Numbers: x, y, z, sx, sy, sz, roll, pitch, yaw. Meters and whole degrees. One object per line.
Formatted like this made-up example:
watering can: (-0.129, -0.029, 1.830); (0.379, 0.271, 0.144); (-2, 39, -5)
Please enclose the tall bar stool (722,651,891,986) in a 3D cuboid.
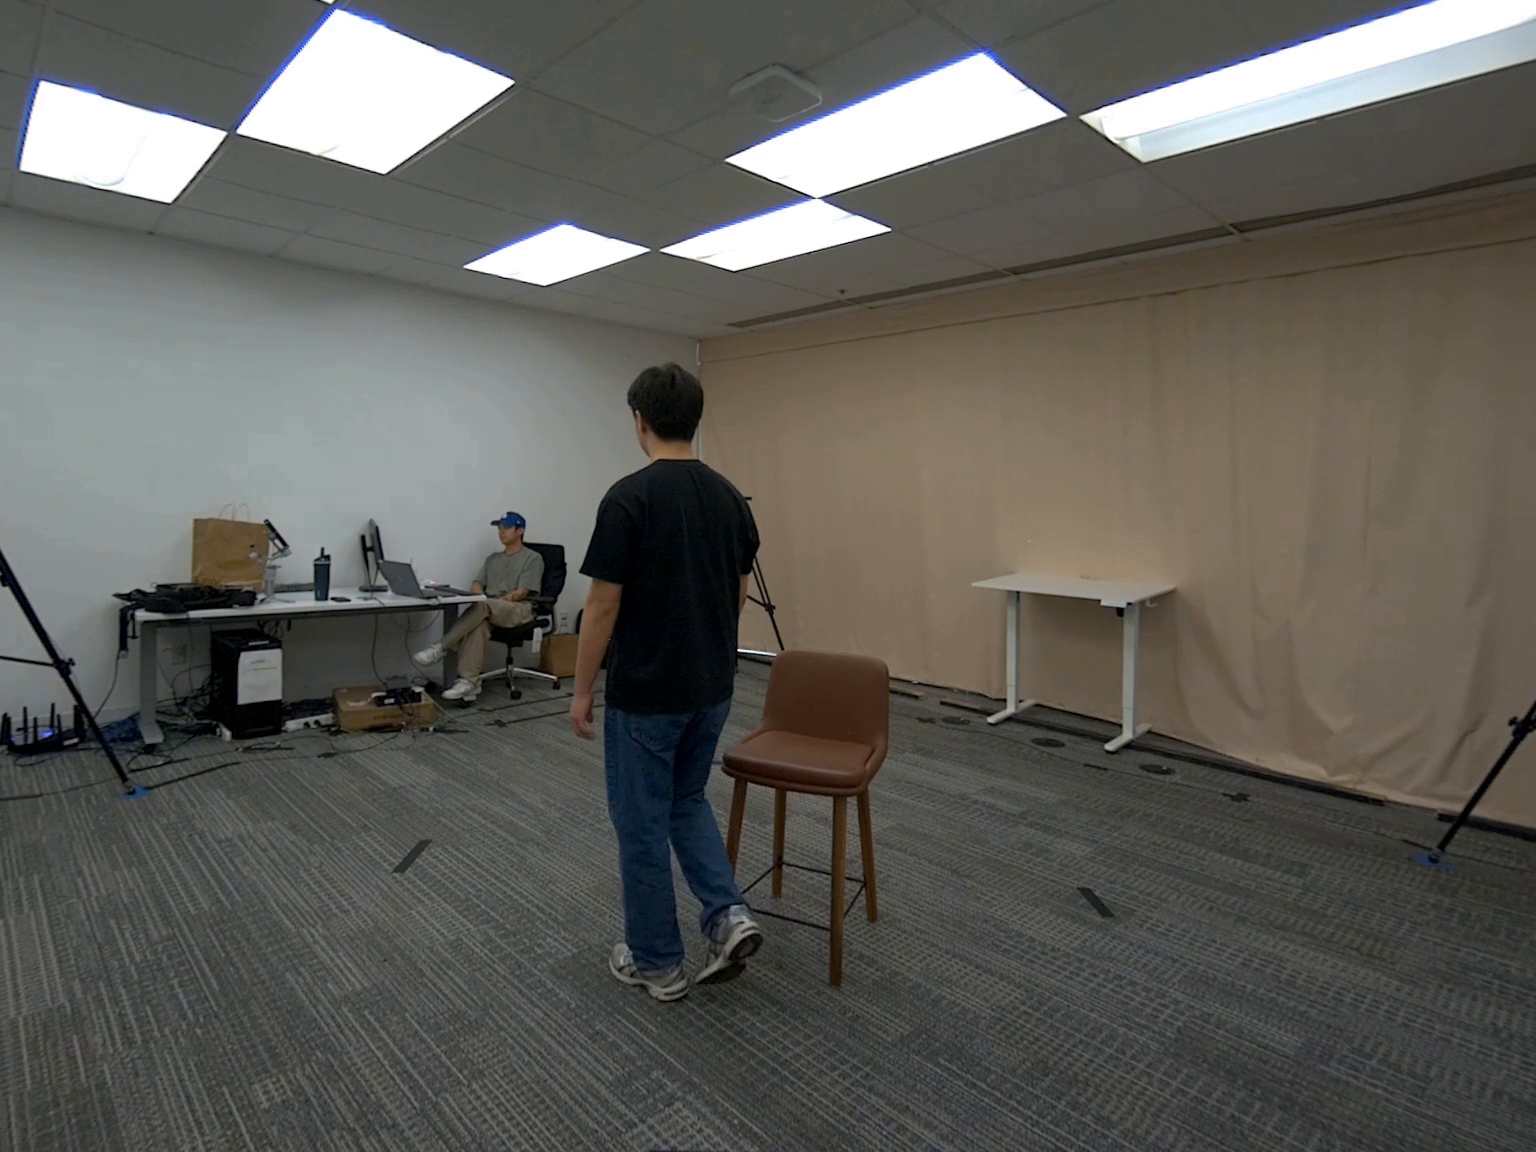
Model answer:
tall bar stool: (0.121, 0.717, 2.669); (0.466, 0.889, 0.459); (3, 2, 26)
